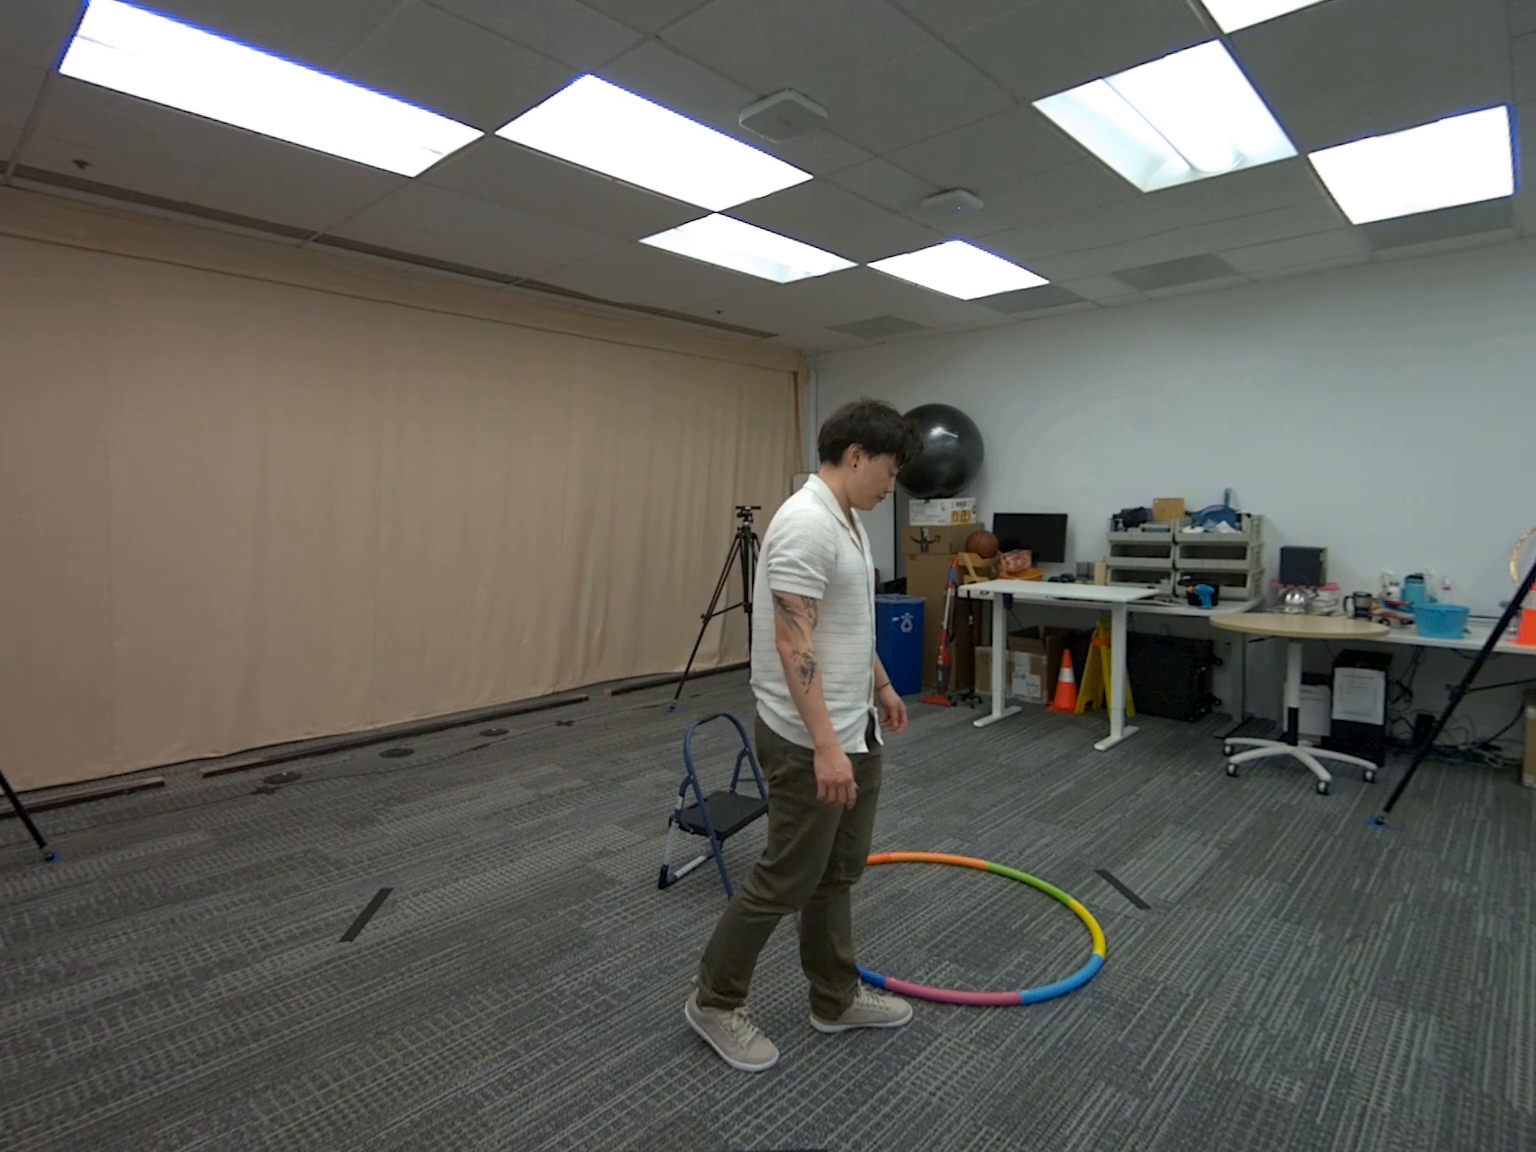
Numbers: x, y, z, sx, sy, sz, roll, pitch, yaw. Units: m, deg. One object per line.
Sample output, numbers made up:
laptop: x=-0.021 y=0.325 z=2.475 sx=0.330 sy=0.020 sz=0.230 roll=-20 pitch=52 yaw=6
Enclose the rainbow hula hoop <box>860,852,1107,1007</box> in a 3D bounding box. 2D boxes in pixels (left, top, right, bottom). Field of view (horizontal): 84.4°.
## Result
rainbow hula hoop: x=0.588 y=1.124 z=2.818 sx=0.978 sy=0.035 sz=0.982 roll=0 pitch=5 yaw=-2
